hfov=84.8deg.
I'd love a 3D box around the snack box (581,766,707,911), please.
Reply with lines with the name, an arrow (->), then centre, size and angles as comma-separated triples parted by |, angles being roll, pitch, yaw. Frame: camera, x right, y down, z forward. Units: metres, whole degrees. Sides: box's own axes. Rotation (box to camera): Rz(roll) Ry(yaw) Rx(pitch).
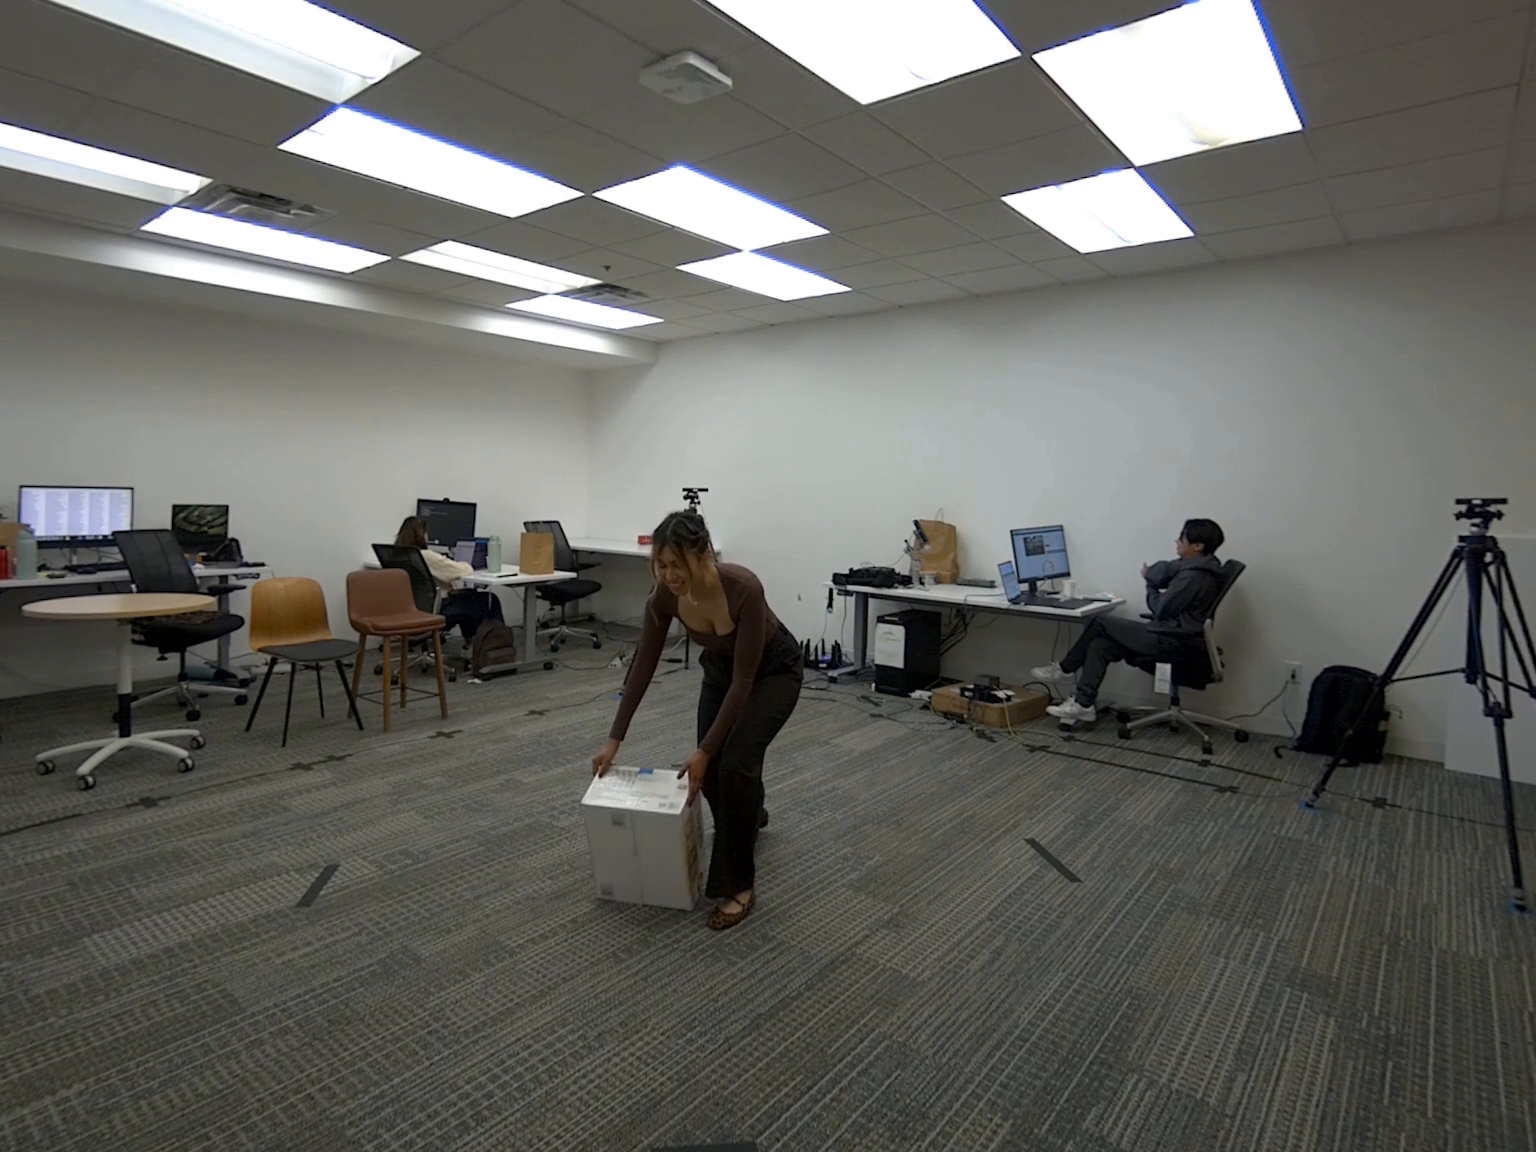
snack box -> -0.412, 0.870, 2.839 | 0.345, 0.396, 0.207 | 1, 24, 13
